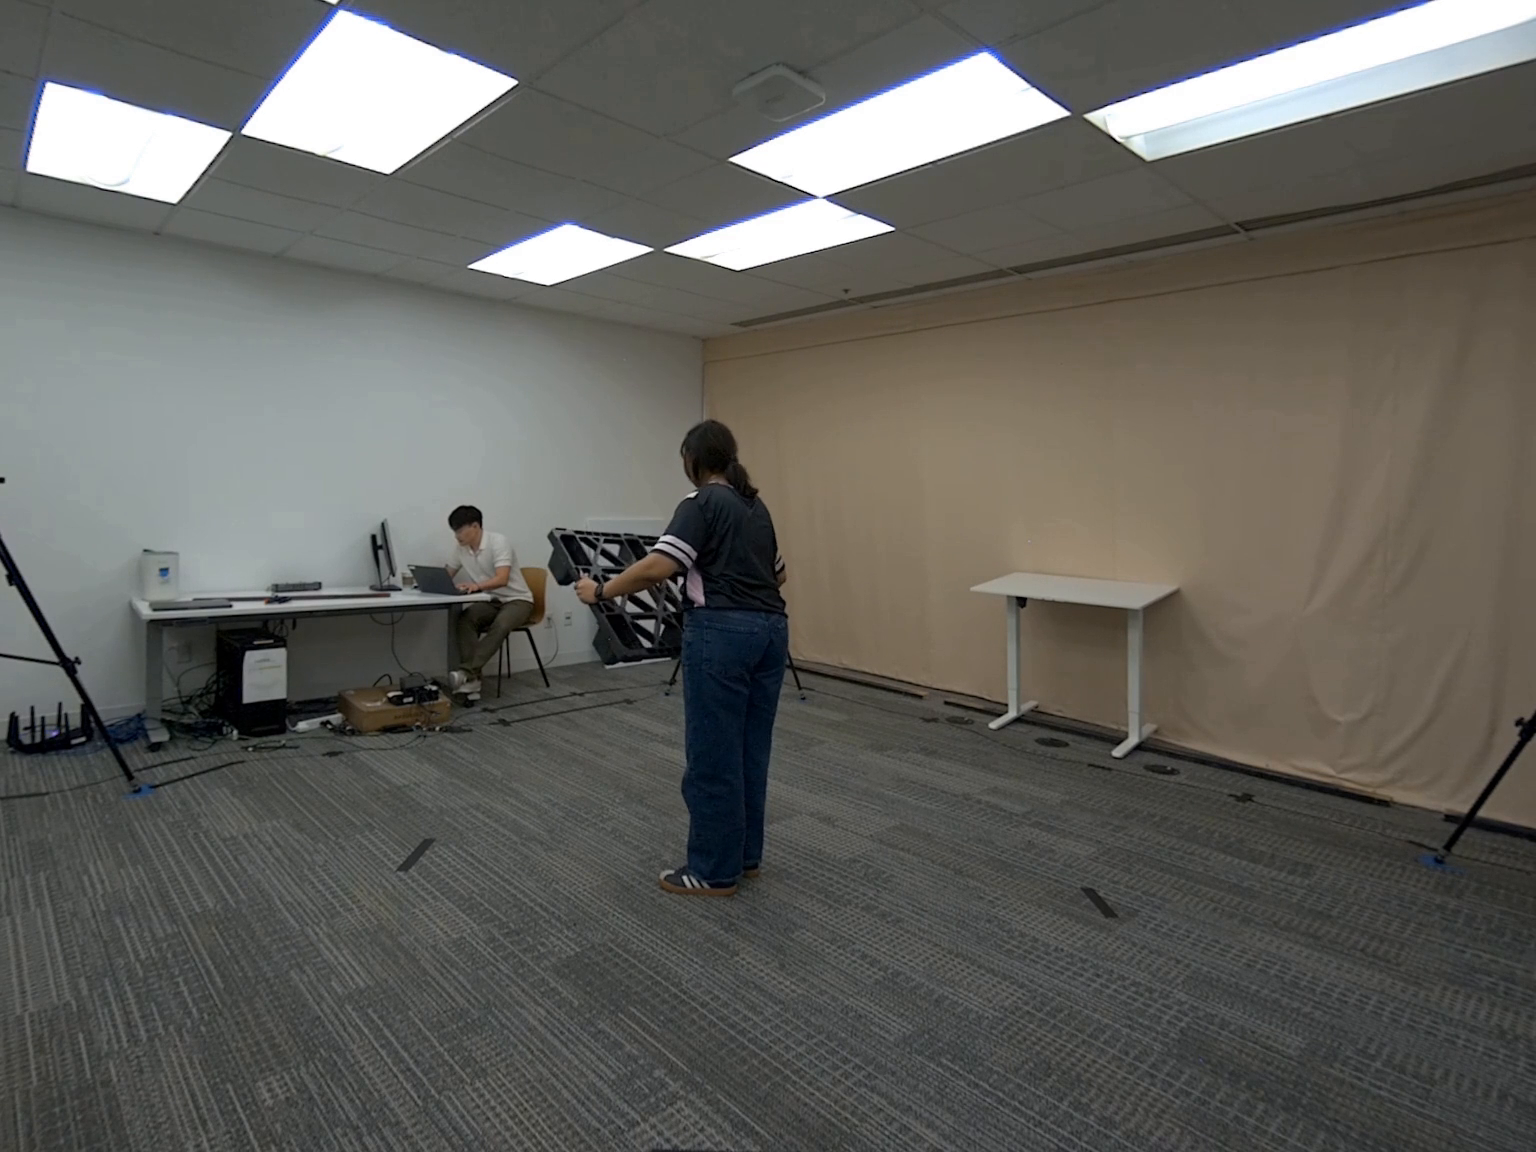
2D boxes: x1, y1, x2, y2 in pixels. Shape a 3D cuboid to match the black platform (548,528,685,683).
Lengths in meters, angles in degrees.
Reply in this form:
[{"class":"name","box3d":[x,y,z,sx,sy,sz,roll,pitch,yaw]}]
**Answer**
[{"class":"black platform","box3d":[-0.436,0.097,3.256,0.786,0.143,0.620,2,45,-53]}]
